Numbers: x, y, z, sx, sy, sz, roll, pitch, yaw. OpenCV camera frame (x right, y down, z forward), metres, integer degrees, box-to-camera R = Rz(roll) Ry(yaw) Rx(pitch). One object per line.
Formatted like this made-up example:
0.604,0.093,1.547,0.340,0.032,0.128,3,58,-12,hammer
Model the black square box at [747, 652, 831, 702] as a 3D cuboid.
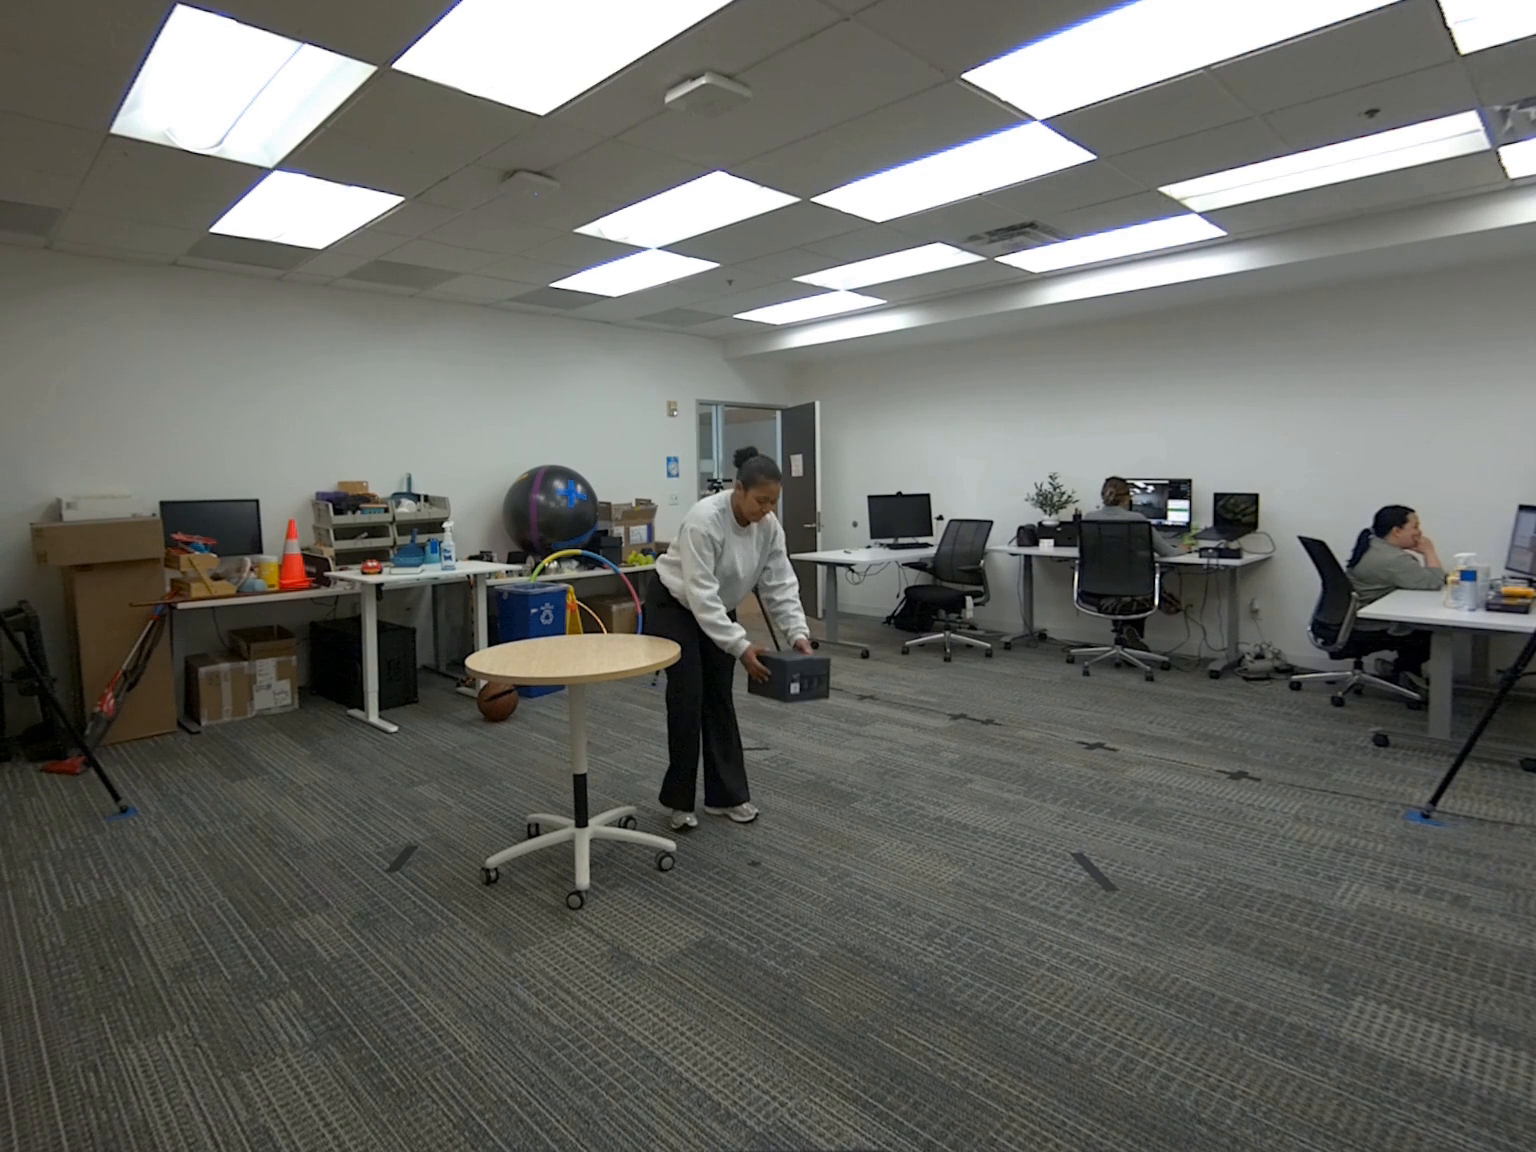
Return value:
0.067,0.375,3.212,0.211,0.156,0.234,0,2,-36,black square box
